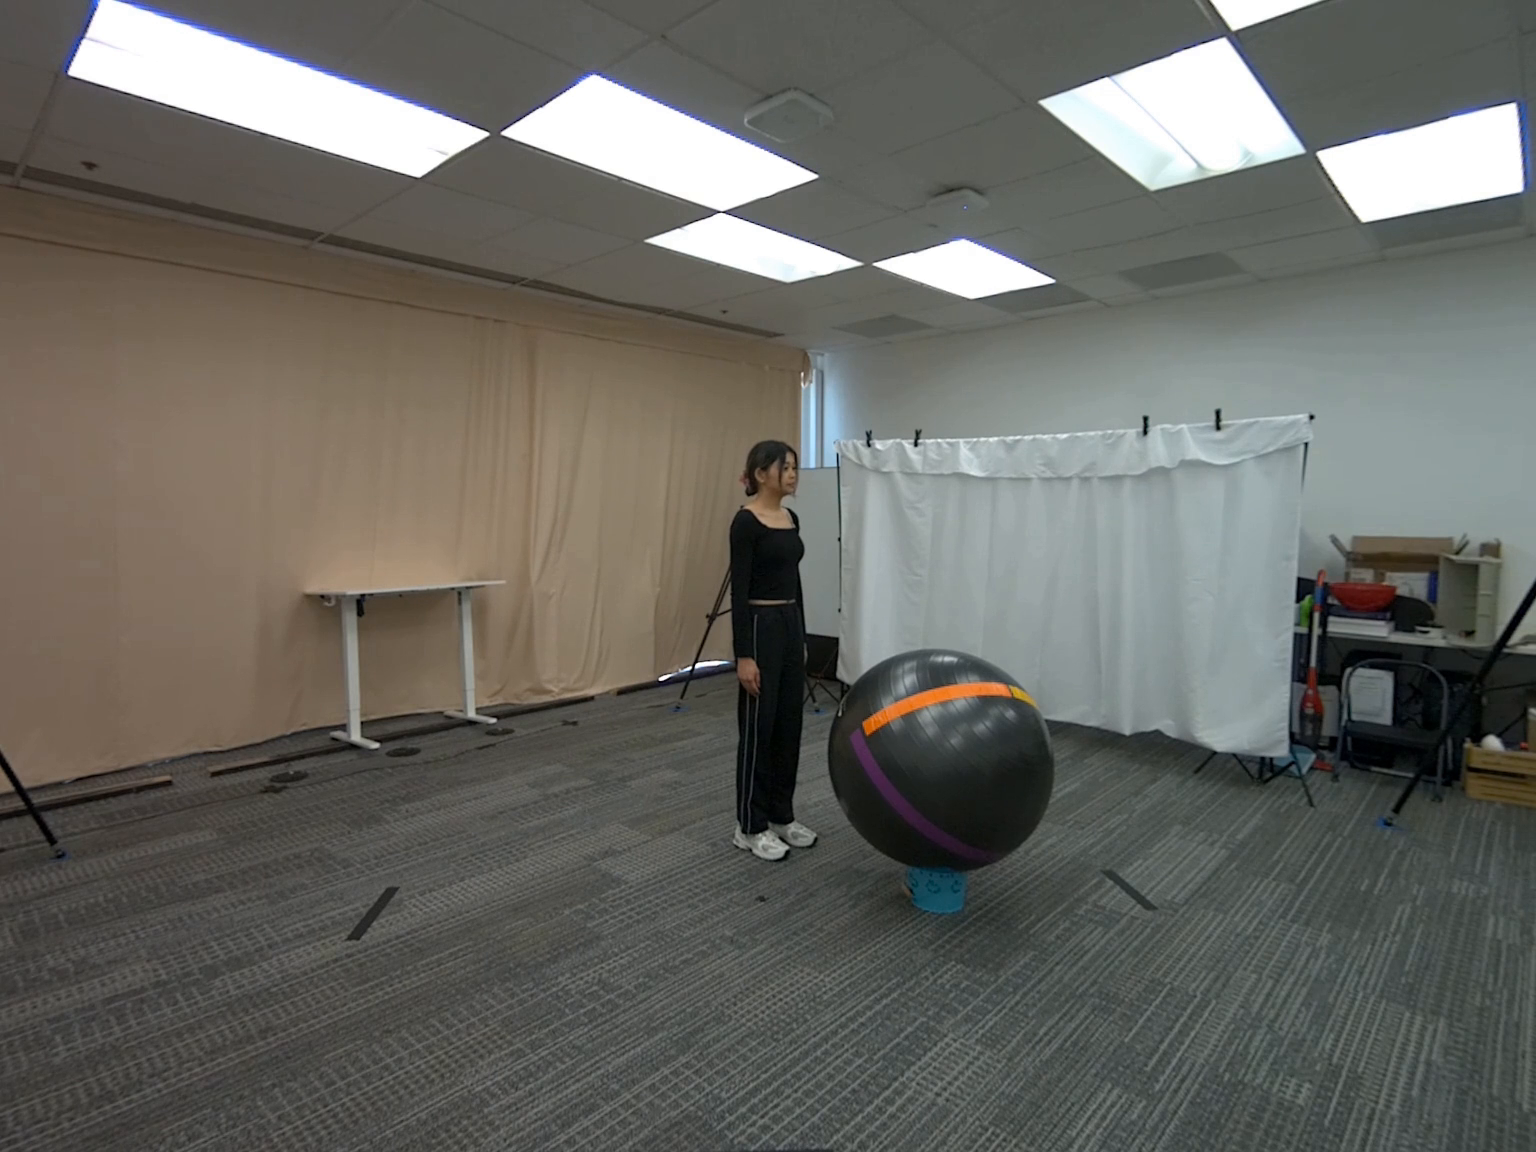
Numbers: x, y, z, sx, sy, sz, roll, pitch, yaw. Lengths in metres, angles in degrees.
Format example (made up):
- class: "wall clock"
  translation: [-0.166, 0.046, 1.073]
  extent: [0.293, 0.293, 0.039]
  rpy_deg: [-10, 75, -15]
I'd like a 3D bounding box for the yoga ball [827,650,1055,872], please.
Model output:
- class: "yoga ball"
  translation: [0.598, 0.634, 2.939]
  extent: [0.757, 0.756, 0.760]
  rpy_deg: [0, 4, -2]
